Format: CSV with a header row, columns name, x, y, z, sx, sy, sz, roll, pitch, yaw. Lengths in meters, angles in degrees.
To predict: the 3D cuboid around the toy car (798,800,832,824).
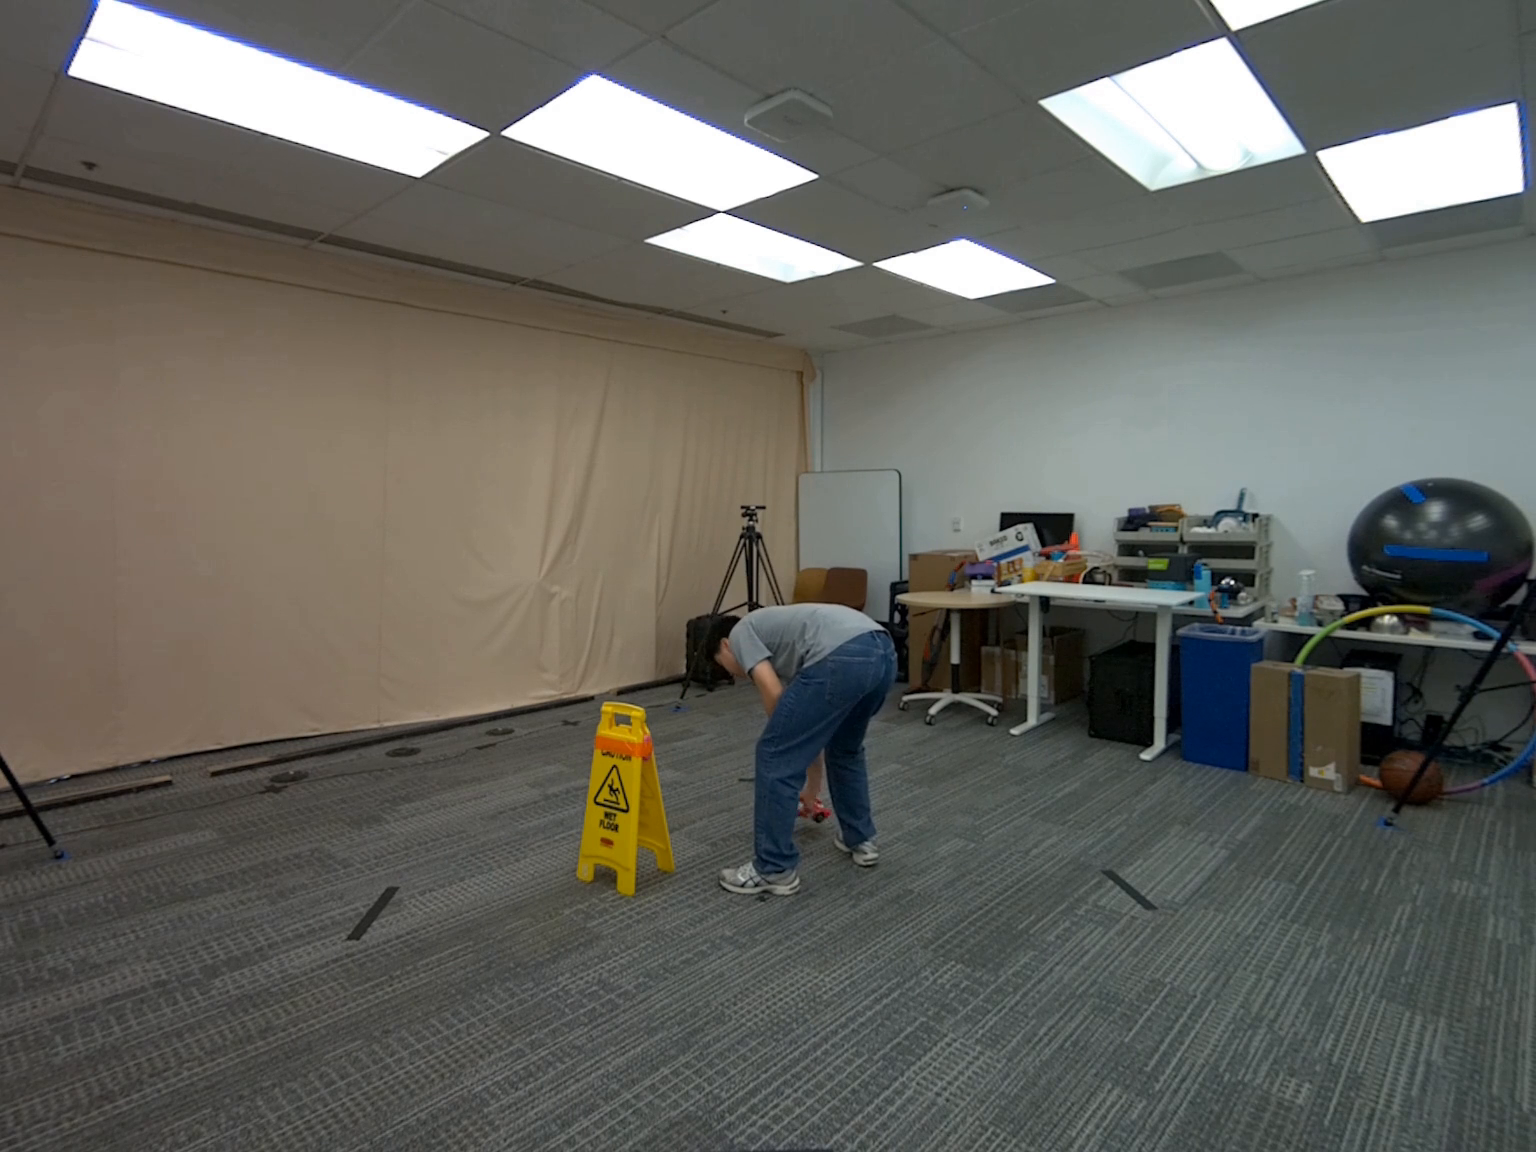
name,x,y,z,sx,sy,sz,roll,pitch,yaw
toy car,0.152,0.988,3.576,0.247,0.083,0.134,6,4,-30
